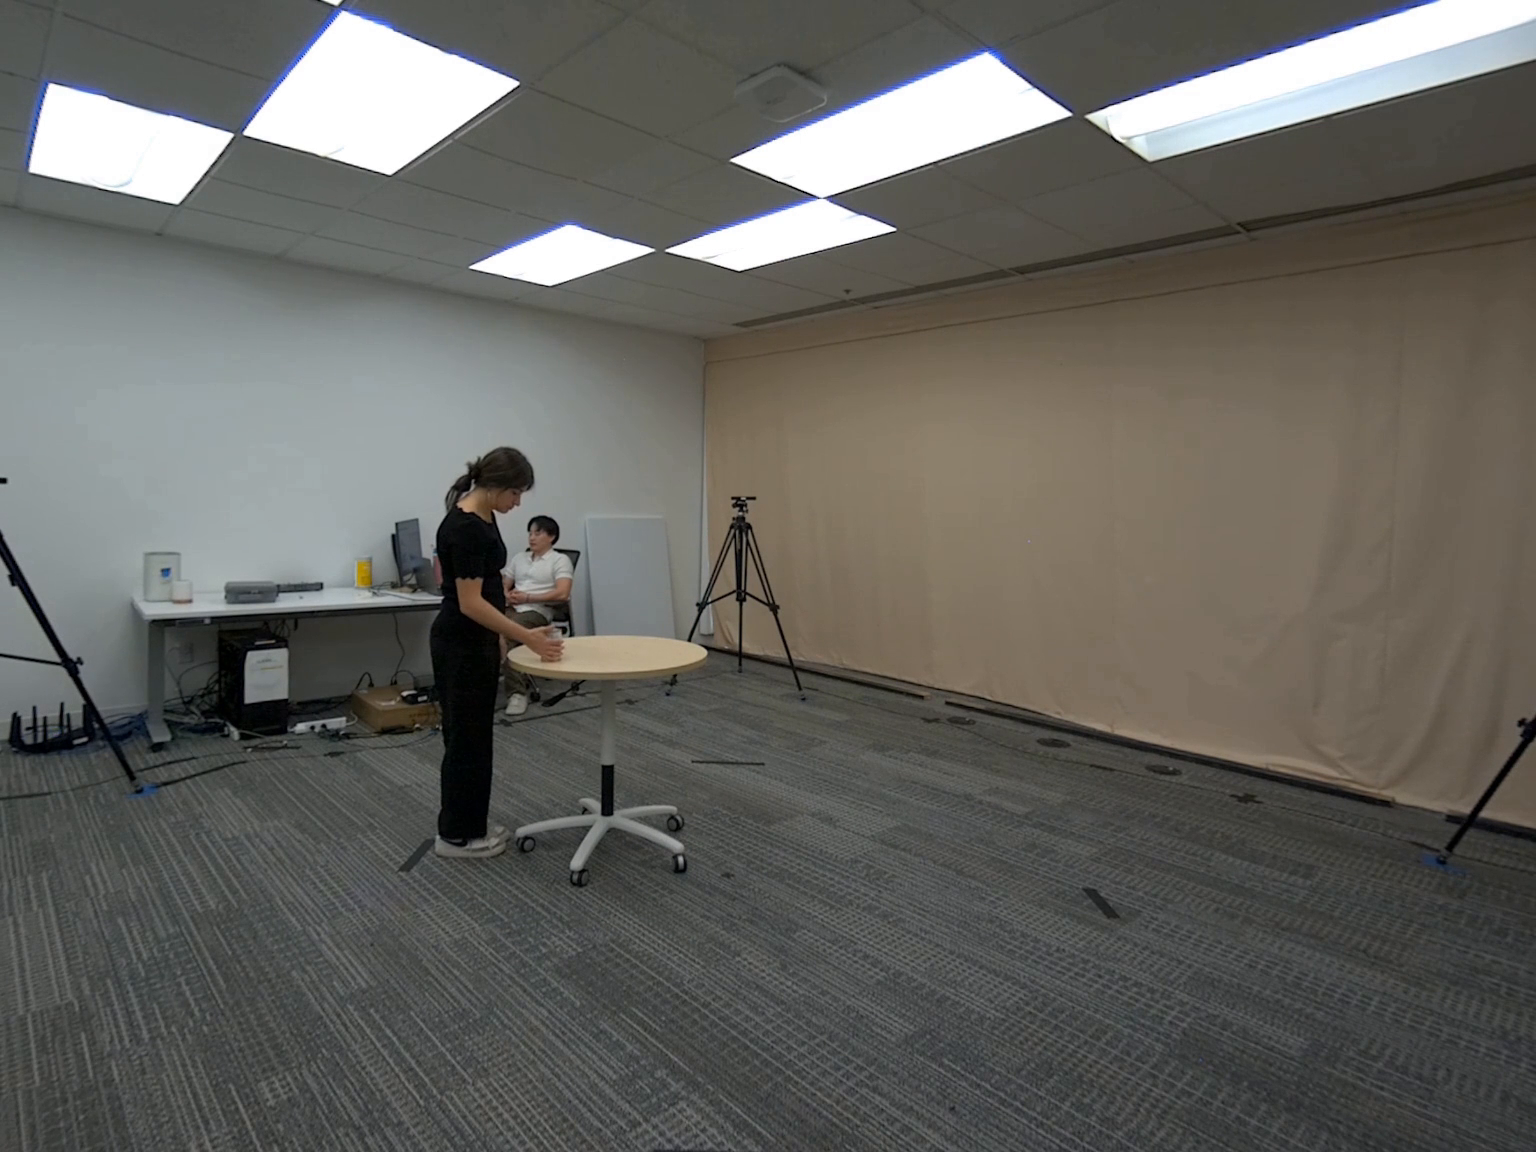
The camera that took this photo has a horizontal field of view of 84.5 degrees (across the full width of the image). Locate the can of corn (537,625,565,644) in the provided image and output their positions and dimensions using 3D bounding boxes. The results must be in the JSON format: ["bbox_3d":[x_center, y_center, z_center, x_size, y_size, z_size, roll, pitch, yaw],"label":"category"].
[{"bbox_3d":[-0.805,0.256,3.088,0.074,0.110,0.074,-1,5,-1],"label":"can of corn"}]
